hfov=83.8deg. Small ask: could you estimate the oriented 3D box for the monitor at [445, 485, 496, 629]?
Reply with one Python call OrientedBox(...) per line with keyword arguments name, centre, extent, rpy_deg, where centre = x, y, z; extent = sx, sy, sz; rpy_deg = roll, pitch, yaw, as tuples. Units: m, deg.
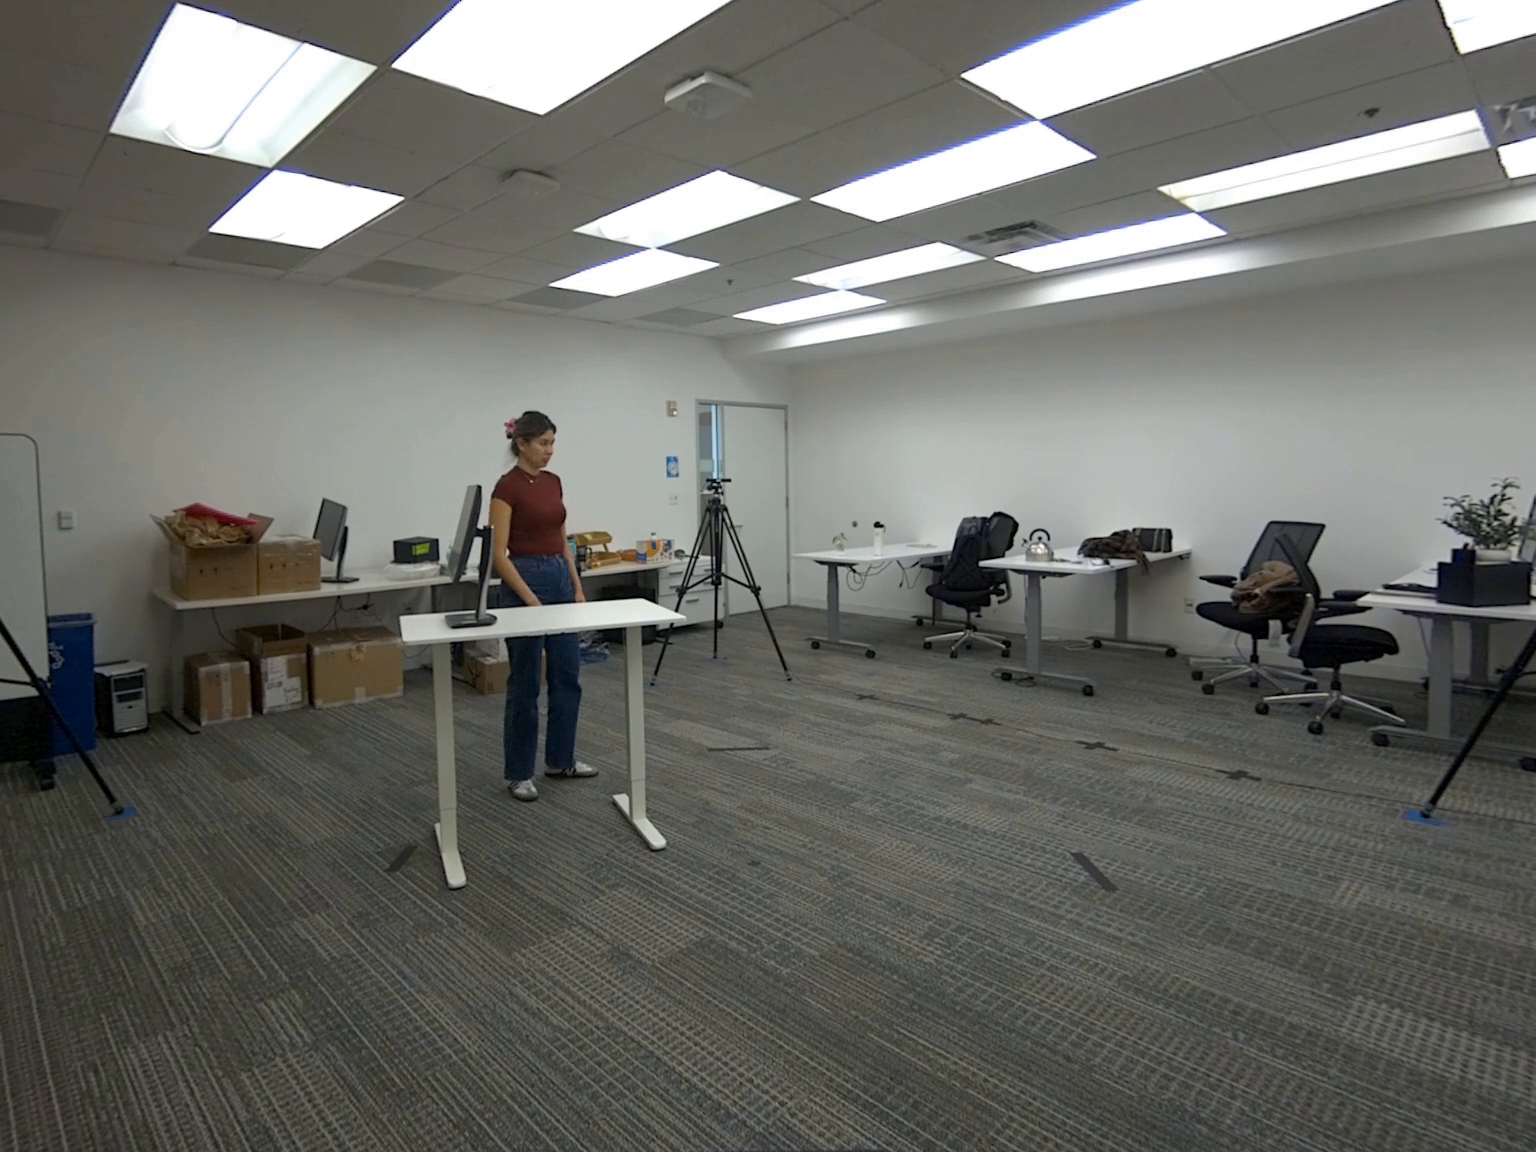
OrientedBox(name="monitor", centre=(-1.117, -0.078, 3.208), extent=(0.183, 0.521, 0.552), rpy_deg=(0, 4, -24))
